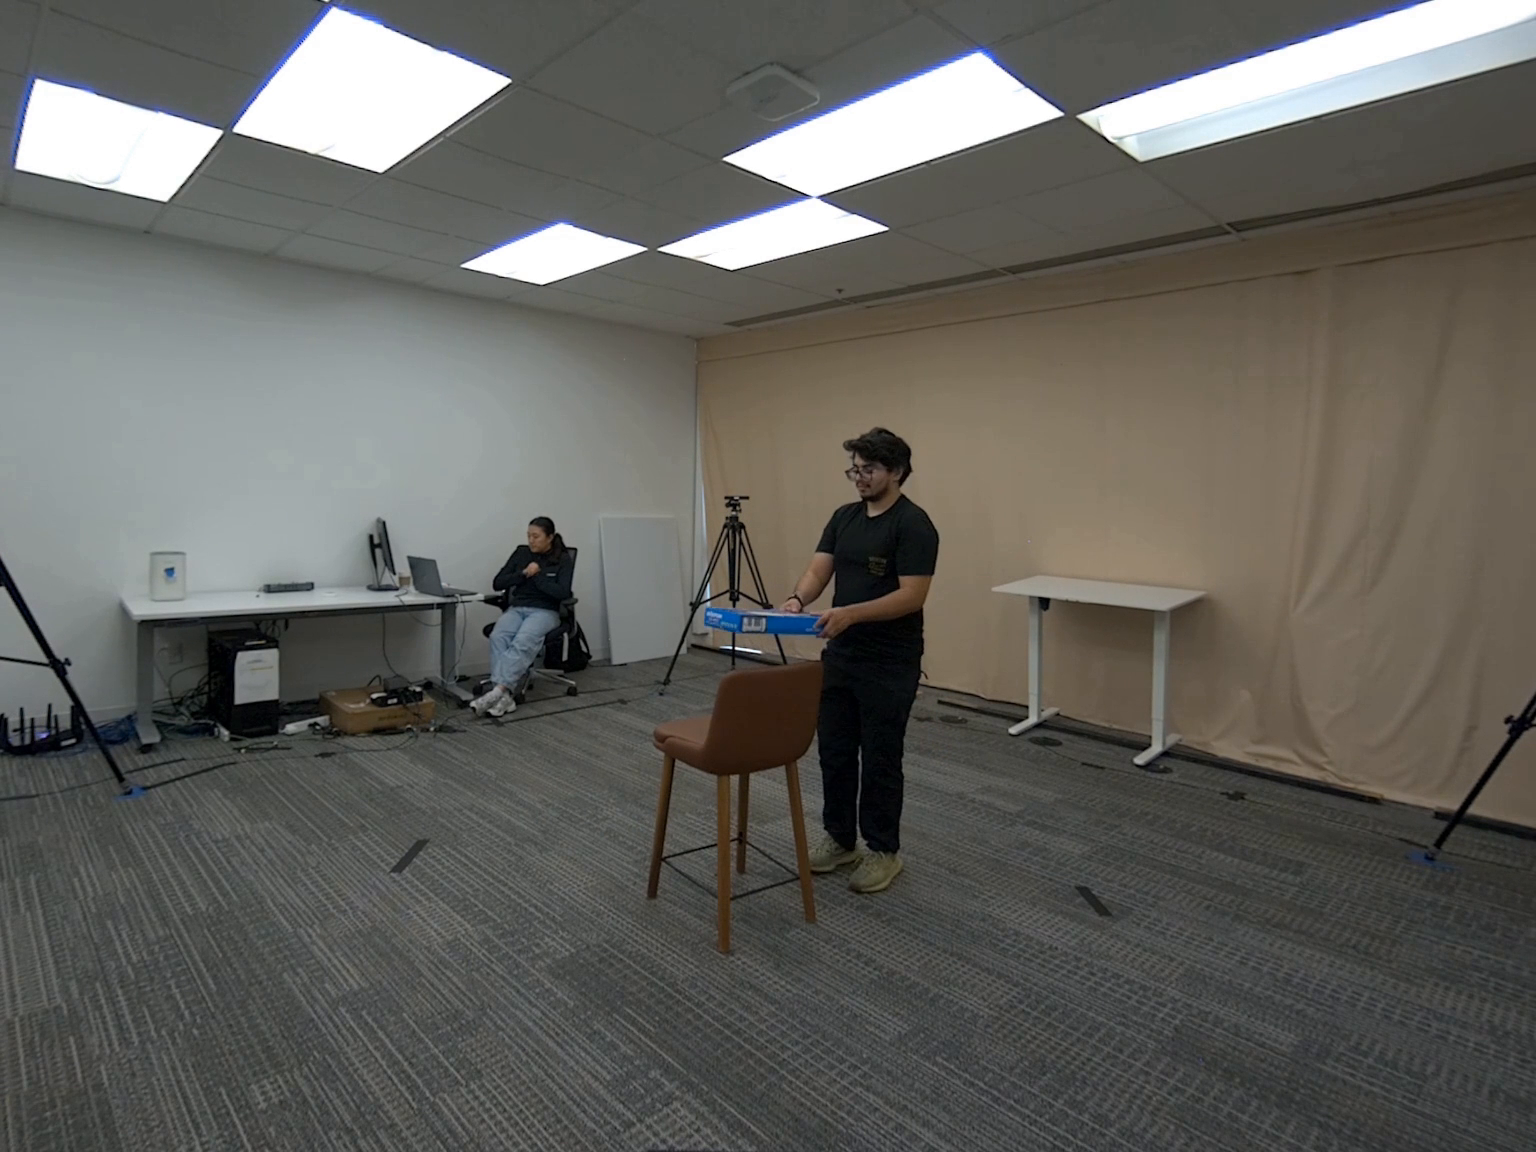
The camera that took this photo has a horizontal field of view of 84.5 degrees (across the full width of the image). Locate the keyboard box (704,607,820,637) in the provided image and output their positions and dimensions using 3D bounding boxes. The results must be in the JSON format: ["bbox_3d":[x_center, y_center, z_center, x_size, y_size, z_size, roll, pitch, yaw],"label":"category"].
[{"bbox_3d":[0.018,0.152,2.704,0.426,0.059,0.180,5,3,-39],"label":"keyboard box"}]
